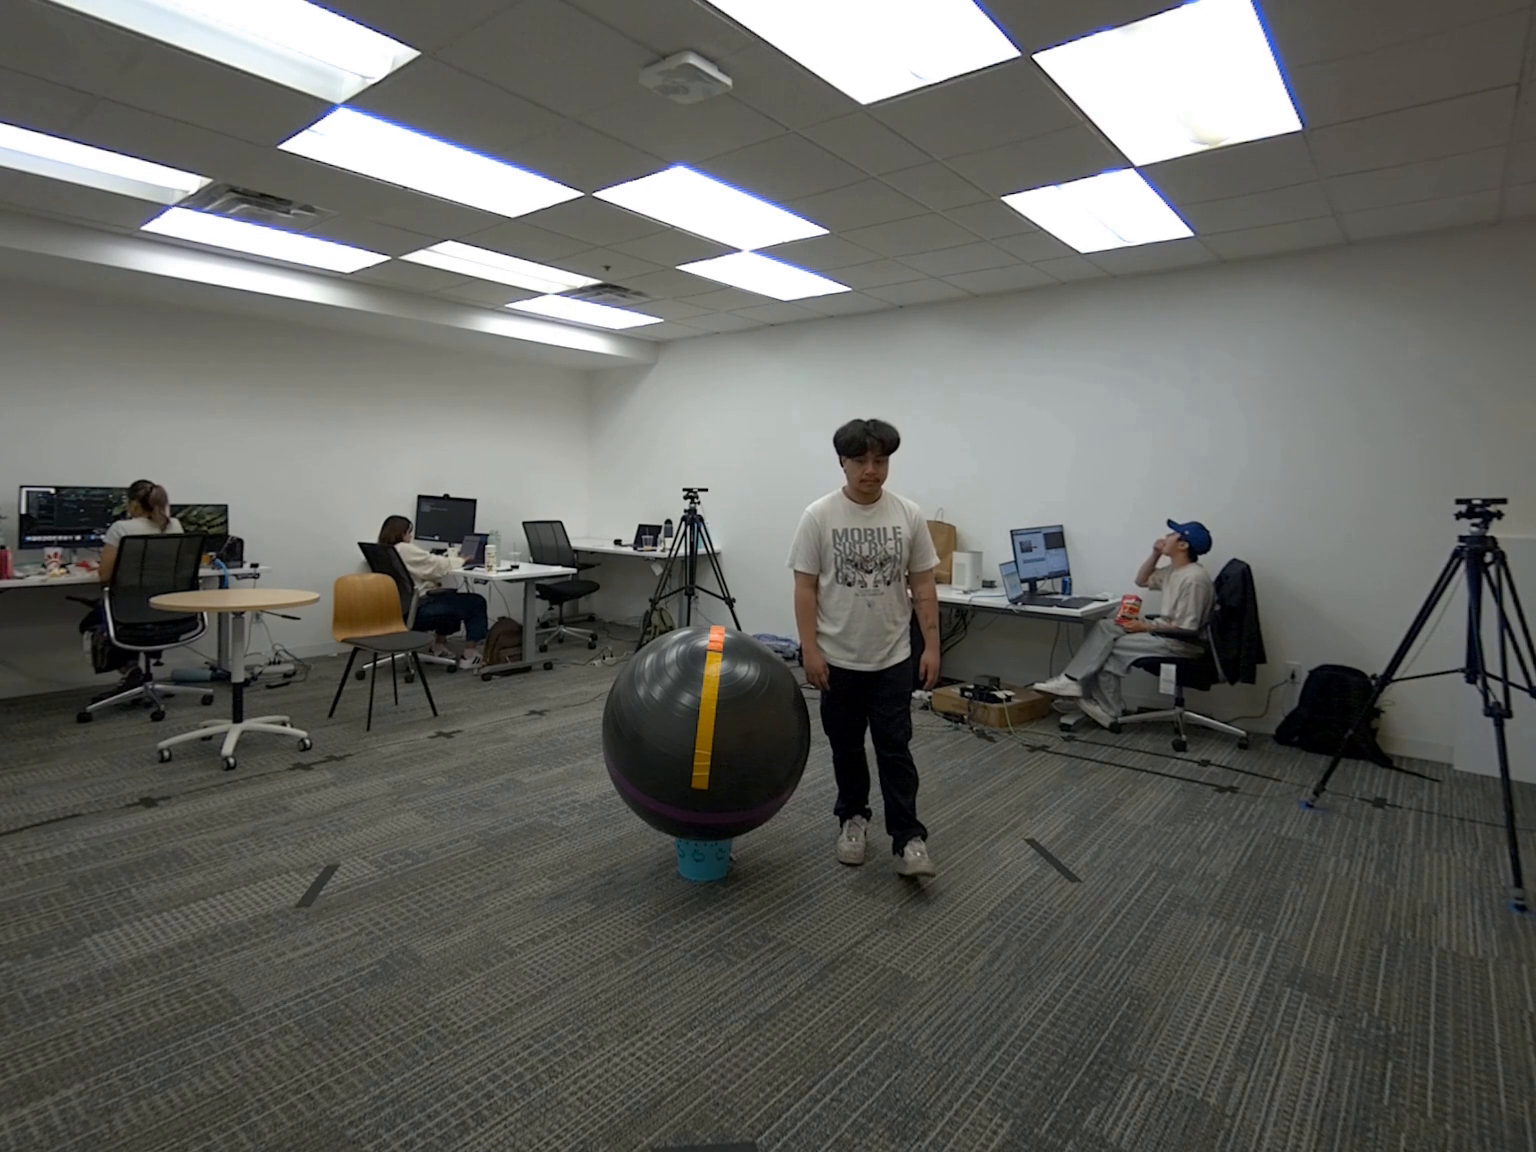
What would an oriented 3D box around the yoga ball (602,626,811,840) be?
[{"bbox_3d":[-0.237,0.562,3.082,0.757,0.756,0.761,1,4,-2],"label":"yoga ball"}]
